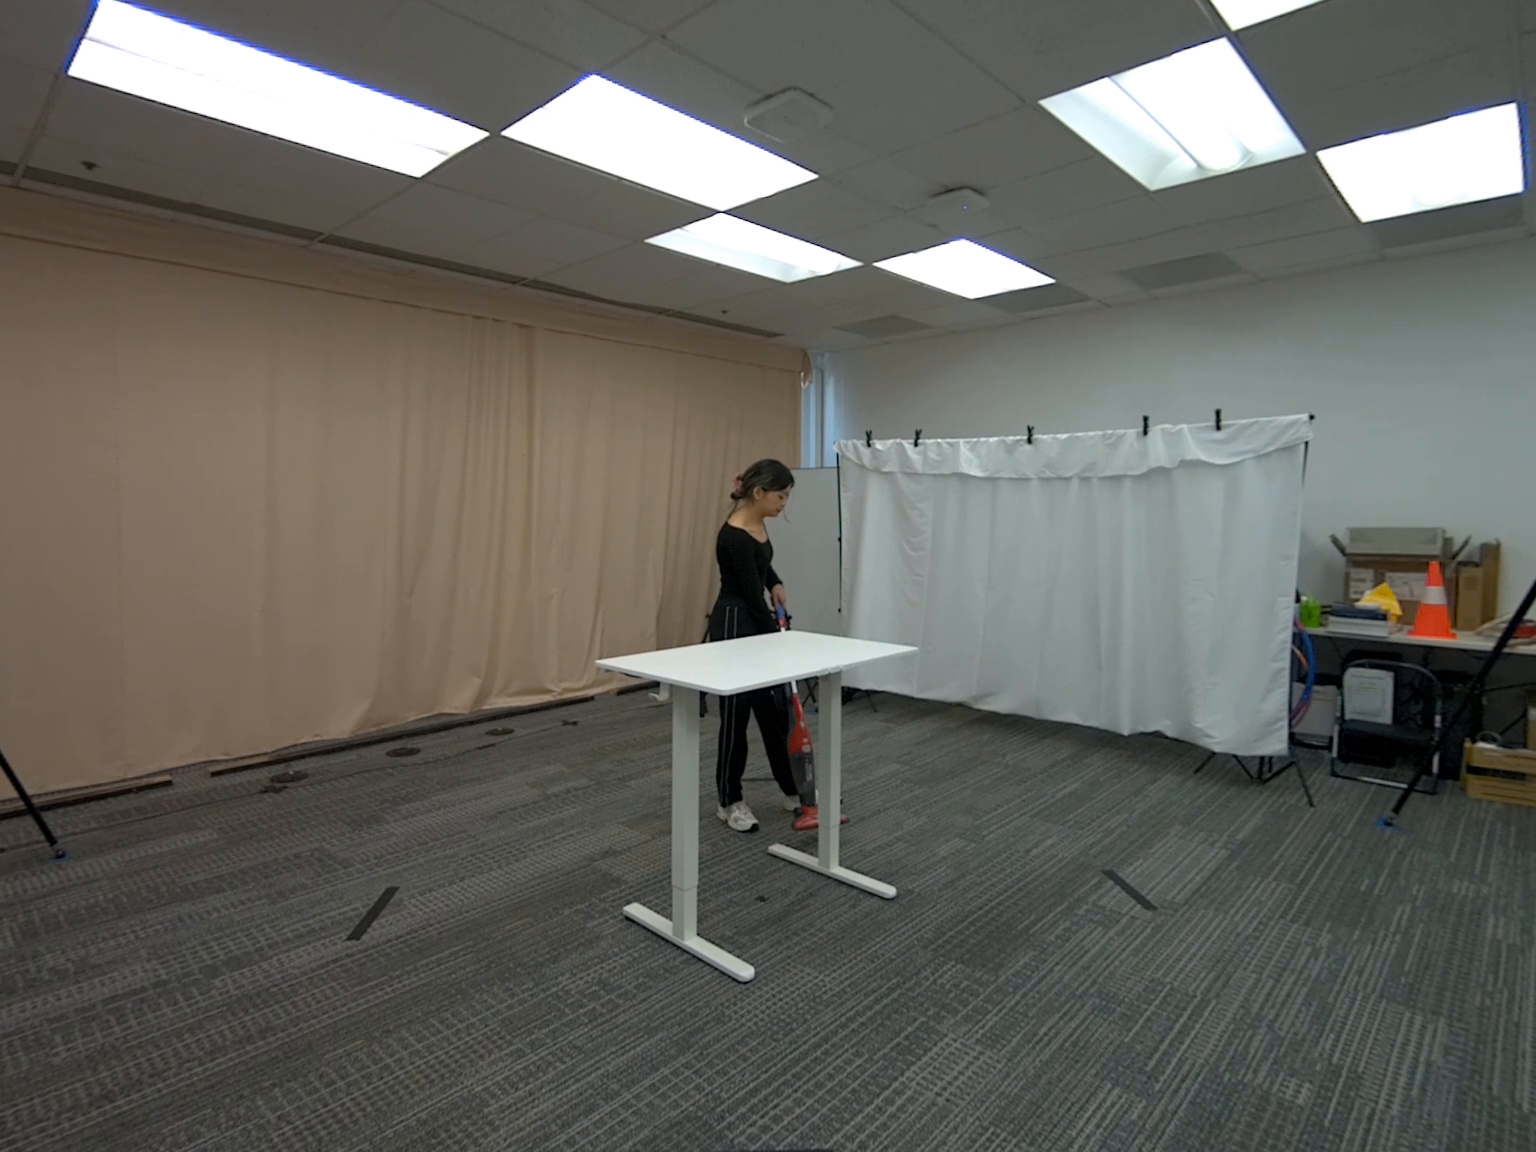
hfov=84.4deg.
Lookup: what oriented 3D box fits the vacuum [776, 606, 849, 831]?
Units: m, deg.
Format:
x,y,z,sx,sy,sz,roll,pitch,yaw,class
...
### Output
x,y,z,sx,sy,sz,roll,pitch,yaw,class
0.114,0.528,3.650,0.247,1.064,0.145,-1,-21,-24,vacuum
